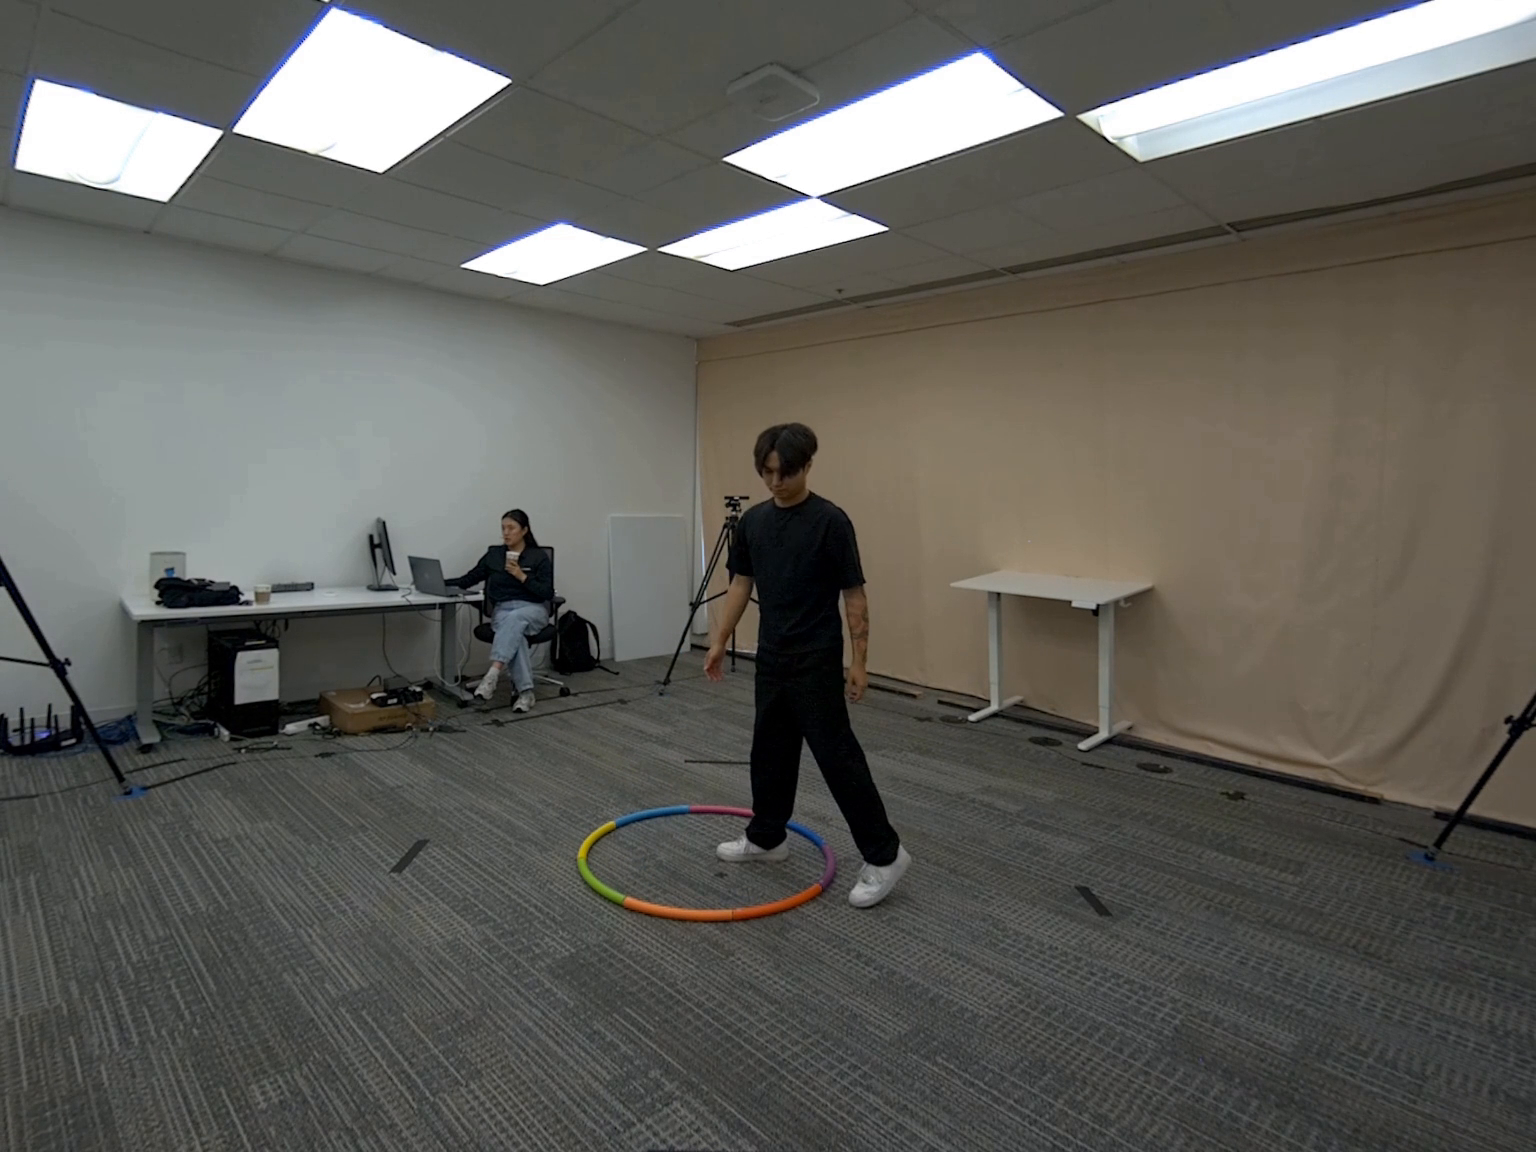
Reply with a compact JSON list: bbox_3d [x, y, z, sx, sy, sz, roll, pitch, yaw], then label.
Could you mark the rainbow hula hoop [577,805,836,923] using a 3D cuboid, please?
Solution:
[{"bbox_3d":[-0.240,1.061,3.239,0.978,0.035,0.982,1,5,-1],"label":"rainbow hula hoop"}]
